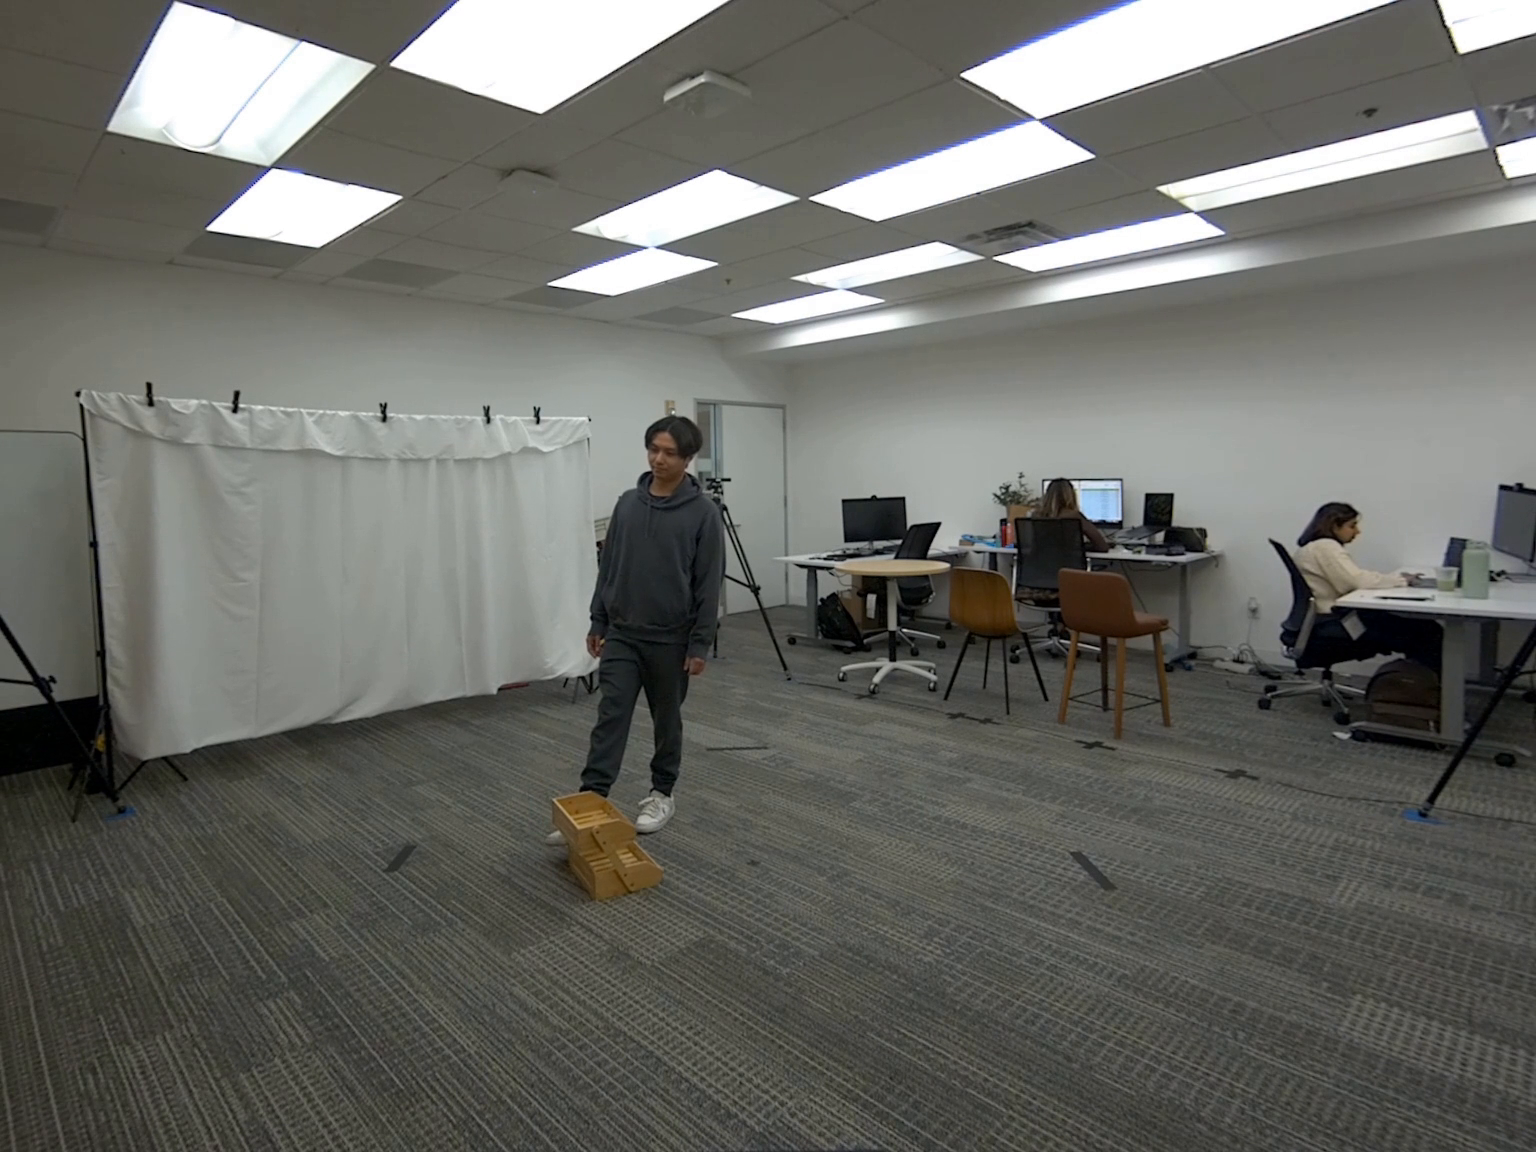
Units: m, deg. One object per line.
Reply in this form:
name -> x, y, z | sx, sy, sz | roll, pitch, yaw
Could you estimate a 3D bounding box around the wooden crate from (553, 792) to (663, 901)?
wooden crate -> -0.570, 0.928, 3.012 | 0.295, 0.272, 0.333 | -4, 7, -27
